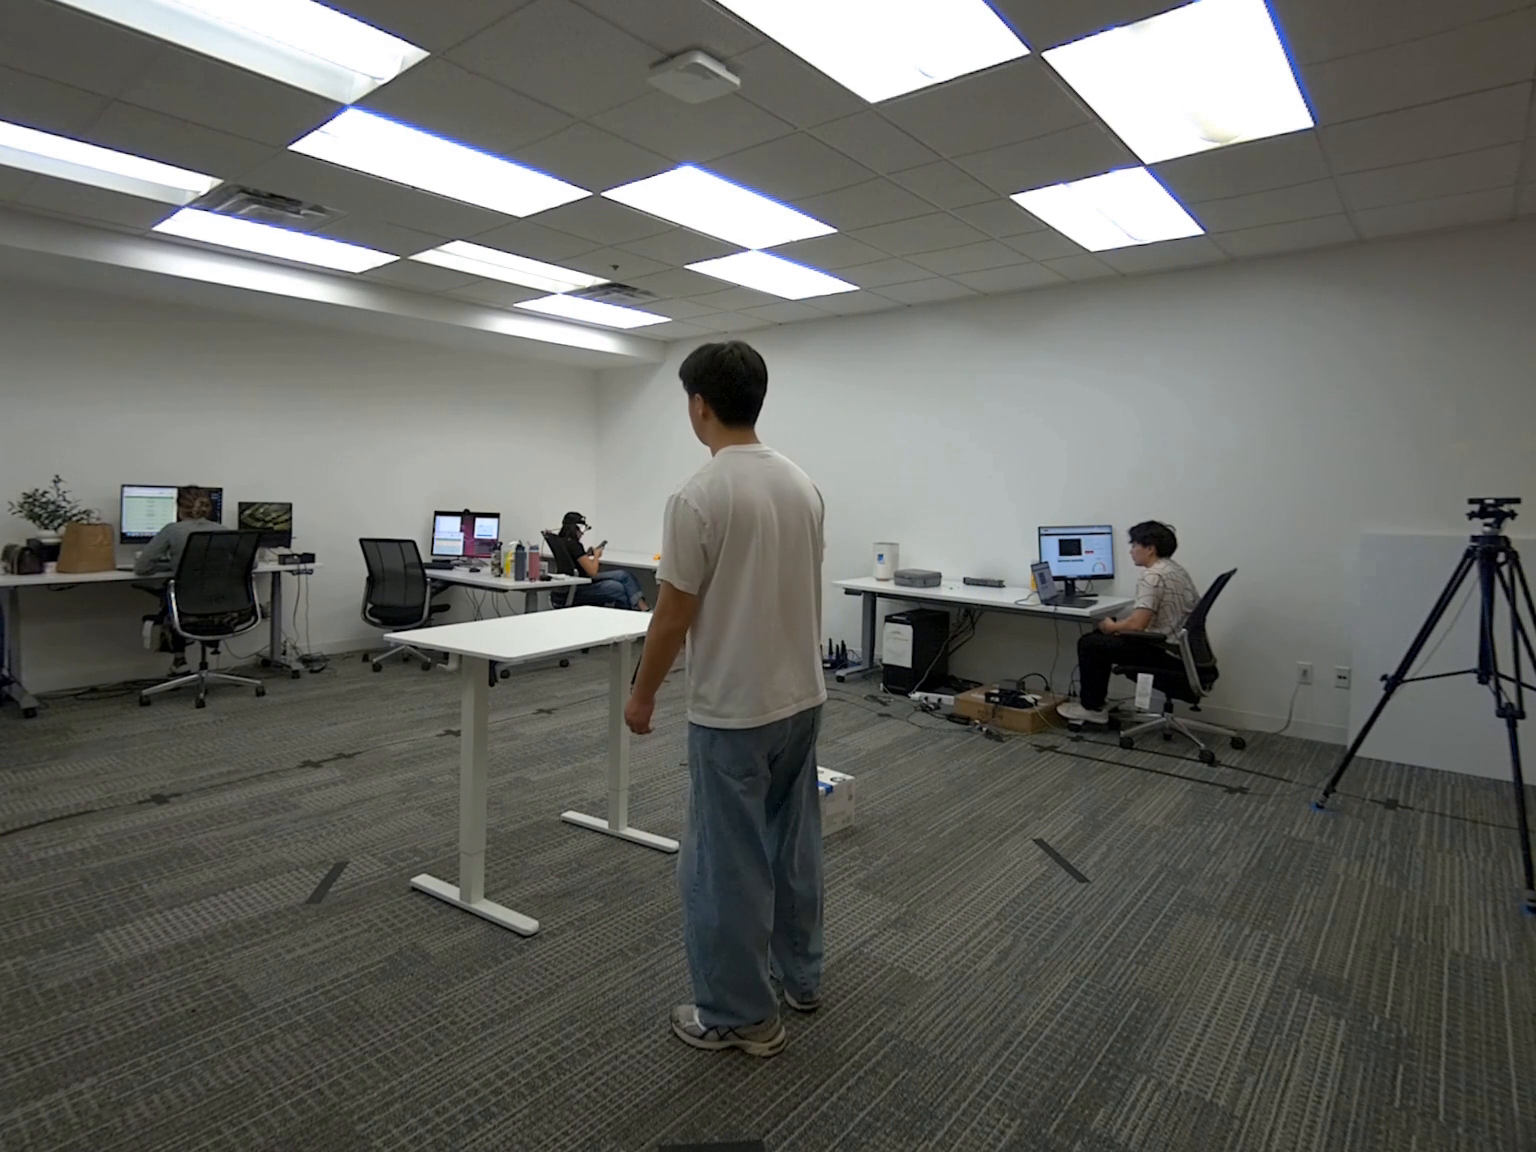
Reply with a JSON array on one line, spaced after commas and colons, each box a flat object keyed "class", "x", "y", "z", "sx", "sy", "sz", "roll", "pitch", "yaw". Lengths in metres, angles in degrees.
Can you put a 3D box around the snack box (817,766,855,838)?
[{"class": "snack box", "x": 0.089, "y": 0.923, "z": 3.552, "sx": 0.419, "sy": 0.205, "sz": 0.330, "roll": 6, "pitch": 7, "yaw": 43}]
